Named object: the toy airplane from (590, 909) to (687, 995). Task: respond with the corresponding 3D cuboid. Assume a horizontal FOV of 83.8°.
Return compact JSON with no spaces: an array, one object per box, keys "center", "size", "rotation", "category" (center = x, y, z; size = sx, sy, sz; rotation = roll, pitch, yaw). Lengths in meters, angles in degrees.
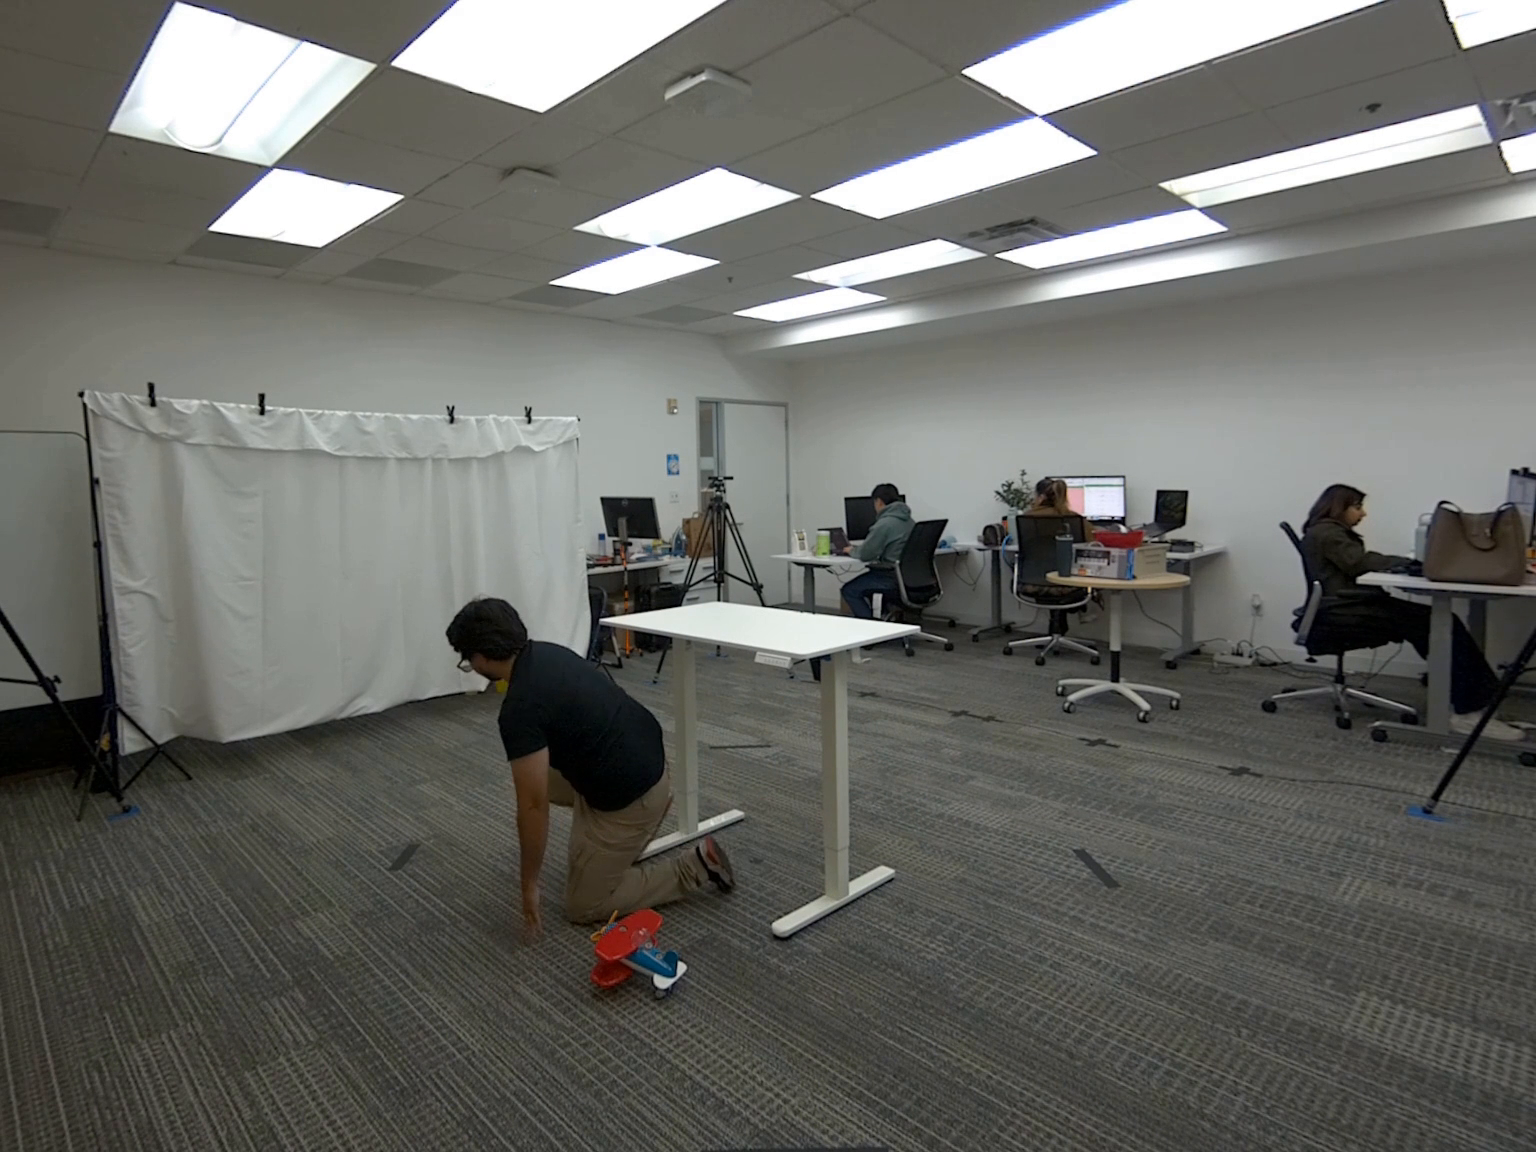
[{"center":[-0.352,1.063,2.383],"size":[0.259,0.155,0.252],"rotation":[-2,7,-1],"category":"toy airplane"}]
